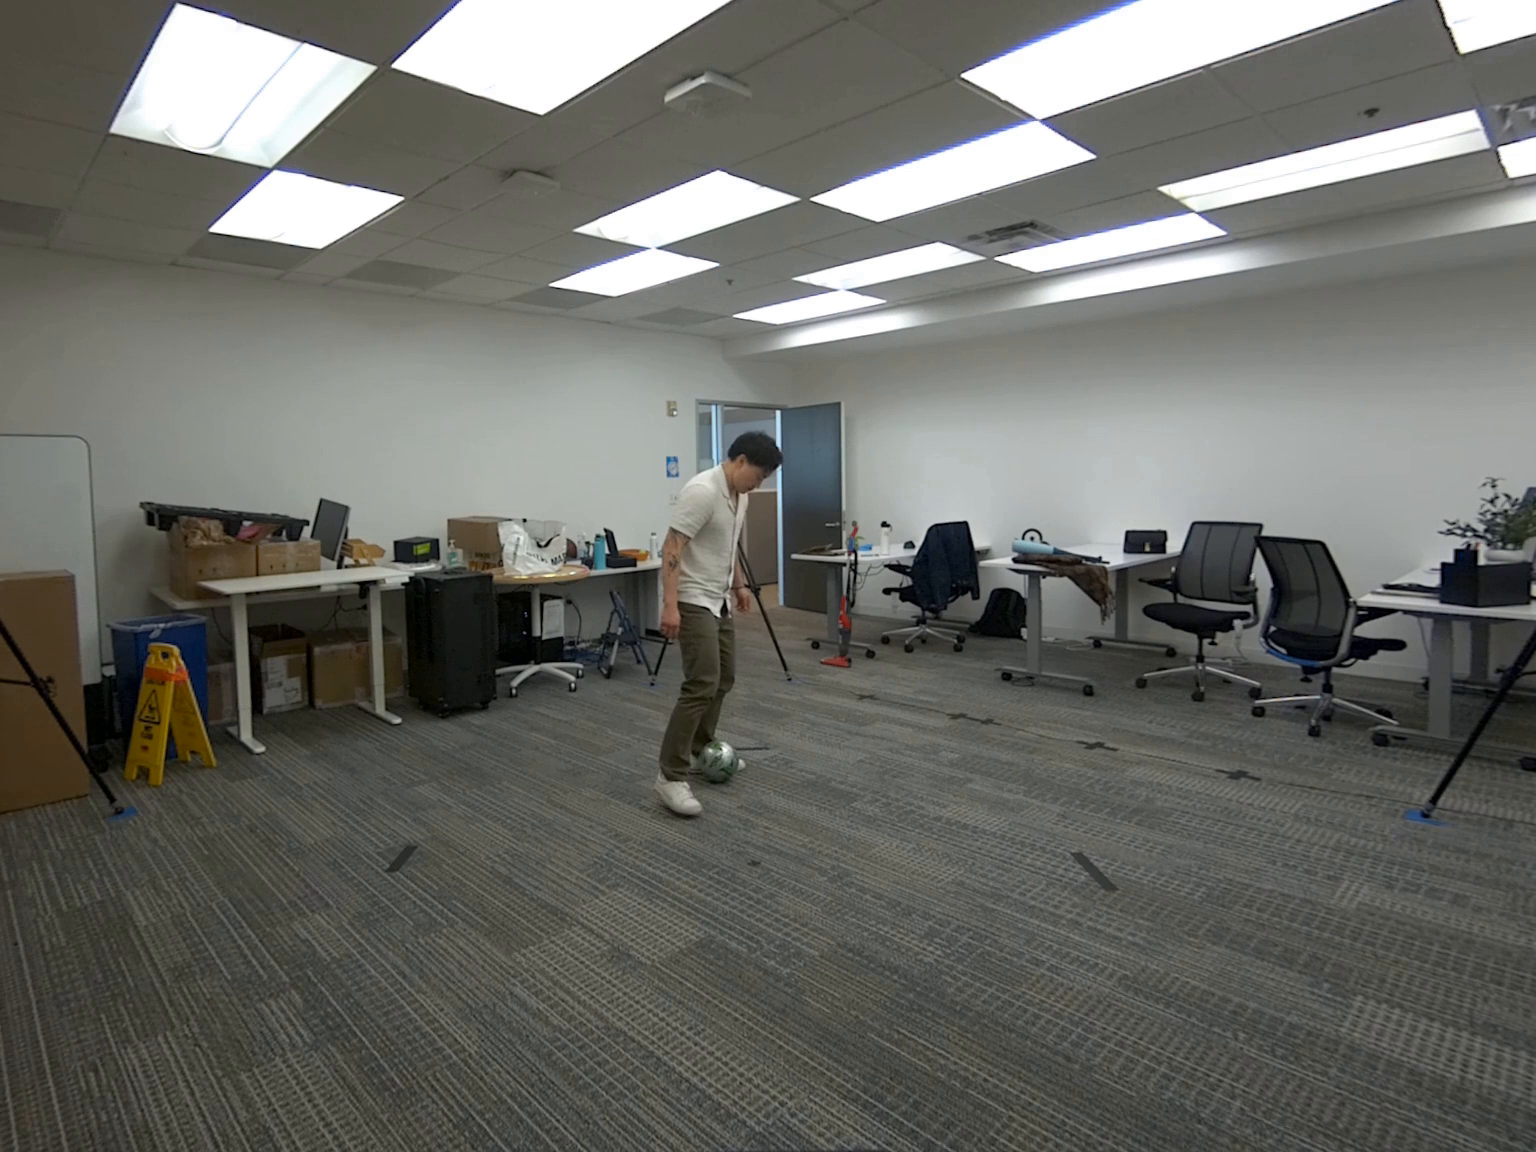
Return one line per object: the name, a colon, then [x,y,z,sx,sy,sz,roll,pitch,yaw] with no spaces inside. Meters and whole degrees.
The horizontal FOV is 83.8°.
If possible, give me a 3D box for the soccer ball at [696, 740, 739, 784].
soccer ball: [-0.234,0.863,3.971,0.187,0.187,0.188,-1,5,-2]
